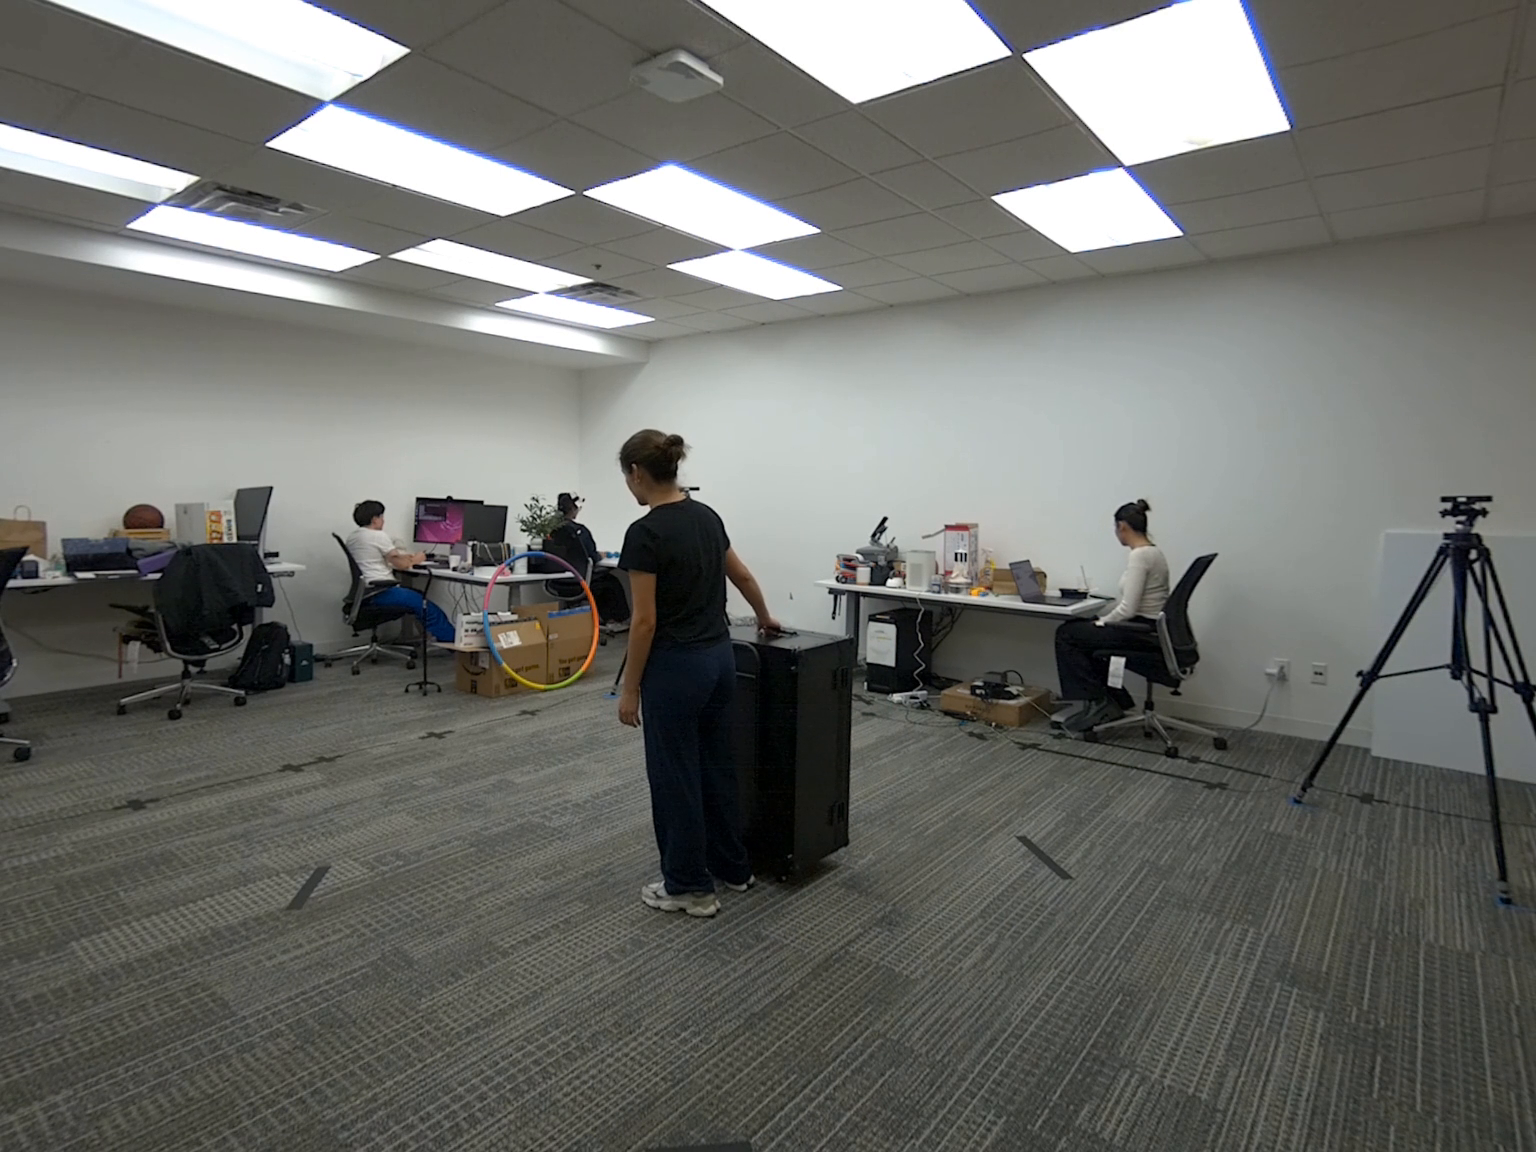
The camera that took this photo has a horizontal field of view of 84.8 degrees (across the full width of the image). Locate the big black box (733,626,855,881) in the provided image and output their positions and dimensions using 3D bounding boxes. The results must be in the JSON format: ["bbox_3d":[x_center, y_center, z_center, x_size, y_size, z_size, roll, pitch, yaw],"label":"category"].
[{"bbox_3d":[0.026,0.639,3.173,0.539,0.858,0.385,4,5,40],"label":"big black box"}]
